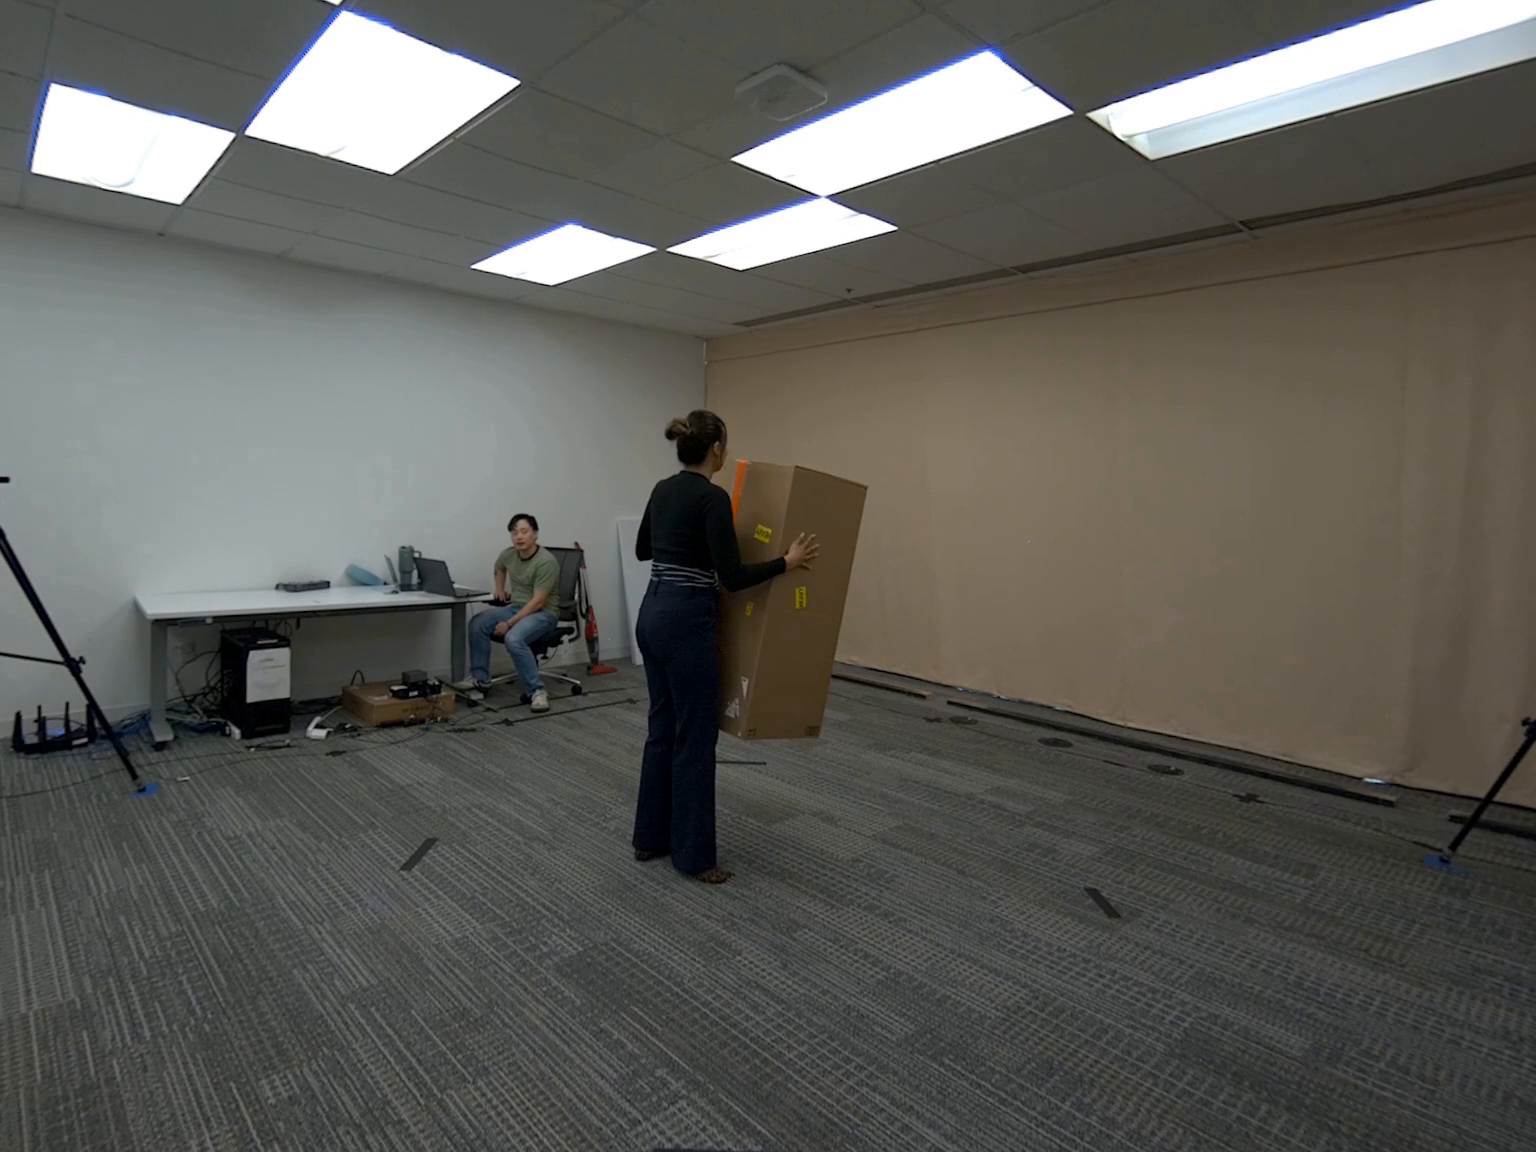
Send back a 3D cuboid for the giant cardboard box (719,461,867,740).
[{"bbox_3d":[-0.044,0.078,3.406,0.414,1.026,0.593,11,0,-42],"label":"giant cardboard box"}]
